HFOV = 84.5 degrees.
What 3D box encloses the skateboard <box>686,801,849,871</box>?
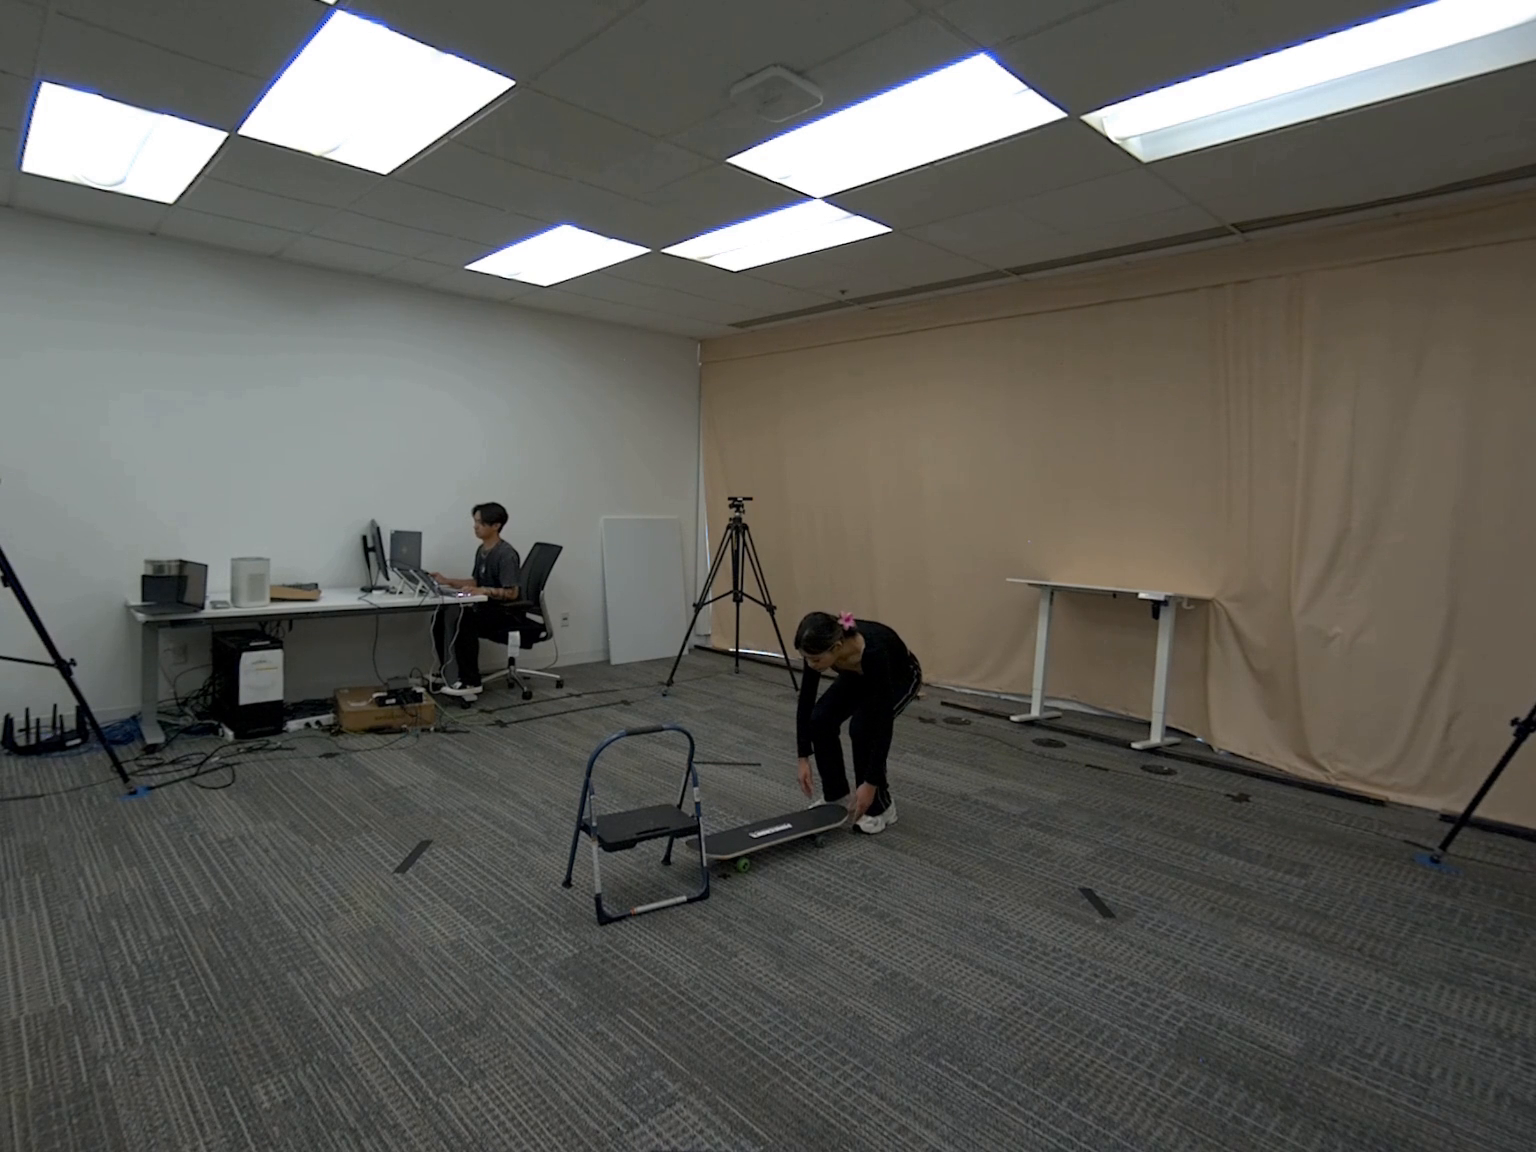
[{"bbox_3d":[0.005,1.038,3.325,0.768,0.110,0.198,-2,7,-38],"label":"skateboard"}]
